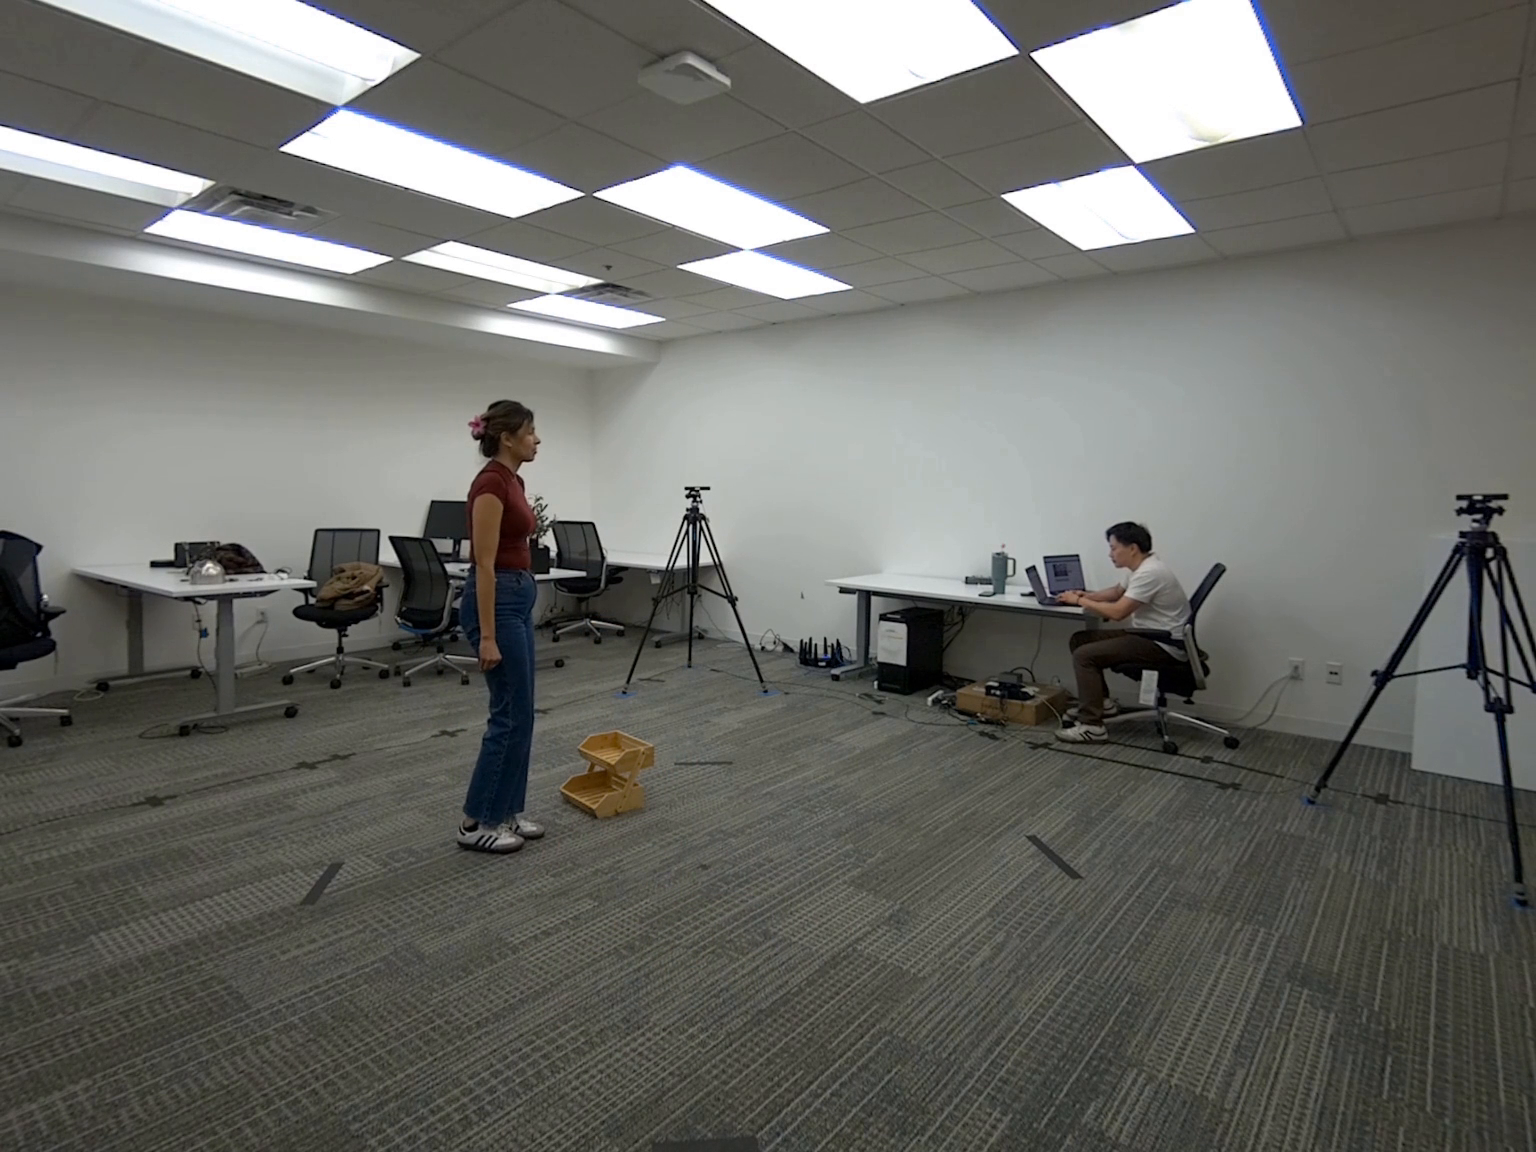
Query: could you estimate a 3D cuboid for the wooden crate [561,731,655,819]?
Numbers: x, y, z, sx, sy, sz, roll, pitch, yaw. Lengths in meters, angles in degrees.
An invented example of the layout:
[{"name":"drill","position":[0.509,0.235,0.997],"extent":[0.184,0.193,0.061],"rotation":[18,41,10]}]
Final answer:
[{"name":"wooden crate","position":[-0.727,0.861,3.752],"extent":[0.293,0.272,0.336],"rotation":[-3,6,-42]}]
